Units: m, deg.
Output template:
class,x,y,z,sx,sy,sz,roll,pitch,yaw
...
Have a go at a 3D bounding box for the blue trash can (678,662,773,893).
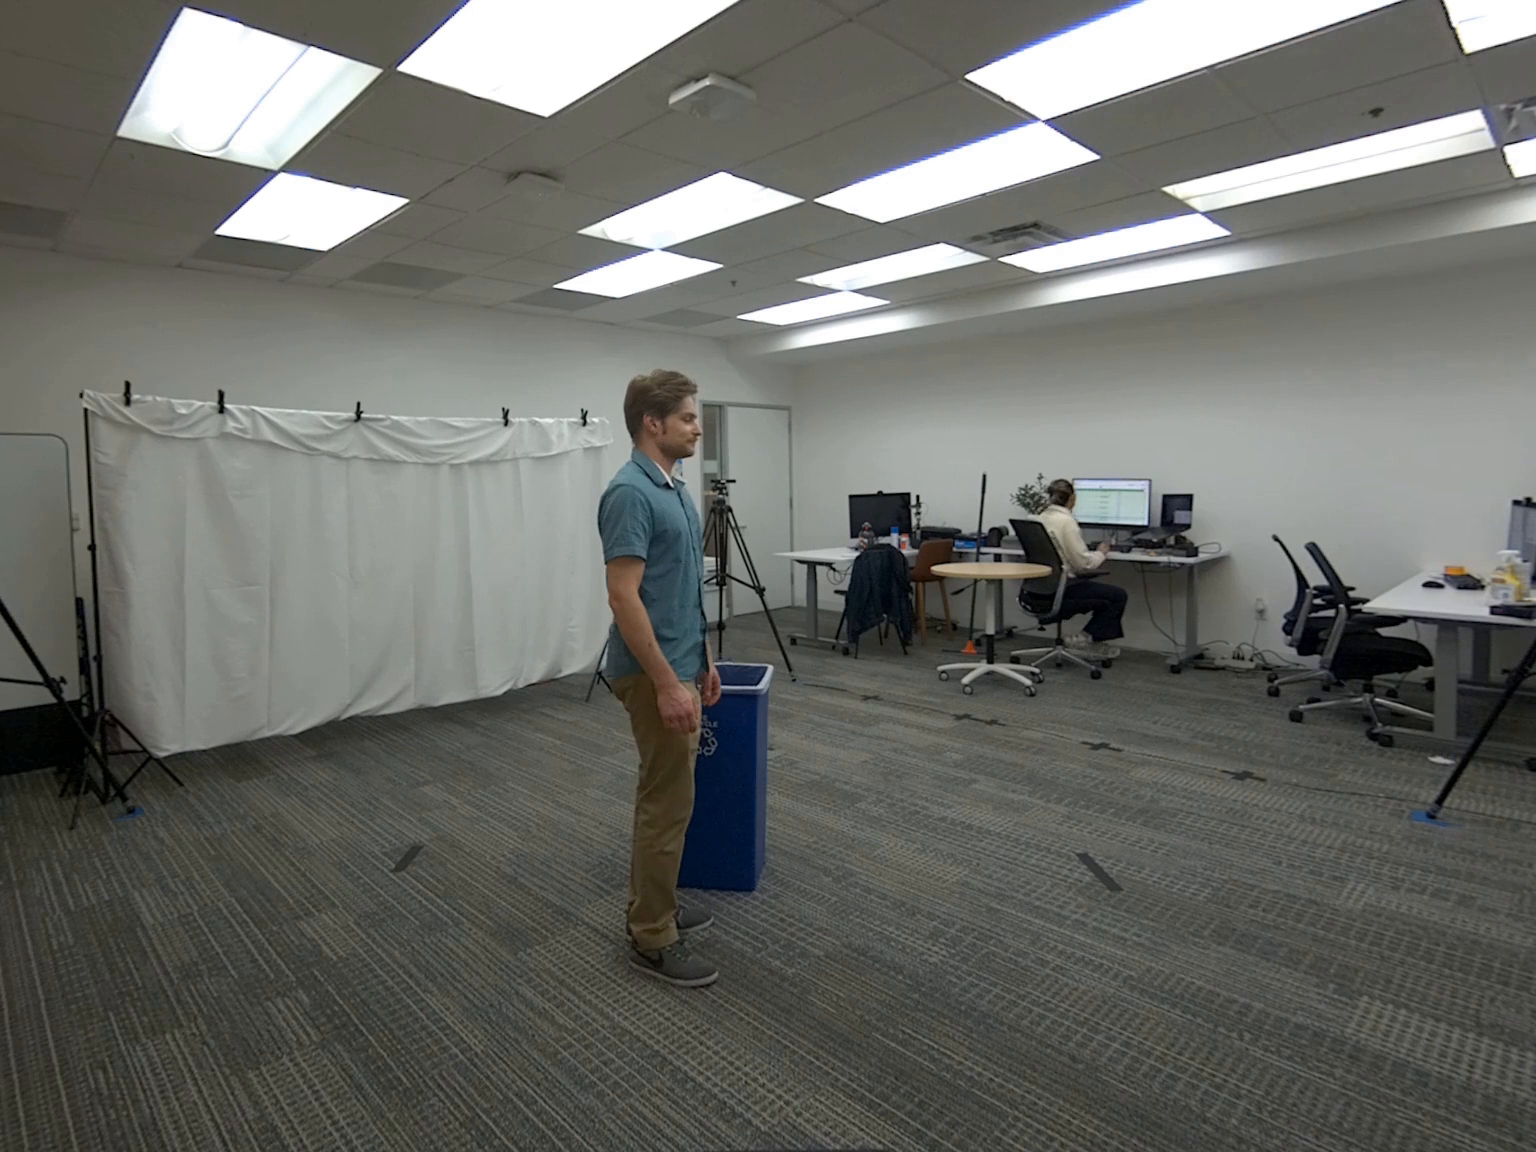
class,x,y,z,sx,sy,sz,roll,pitch,yaw
blue trash can,-0.170,0.699,3.034,0.381,0.711,0.372,0,3,8
